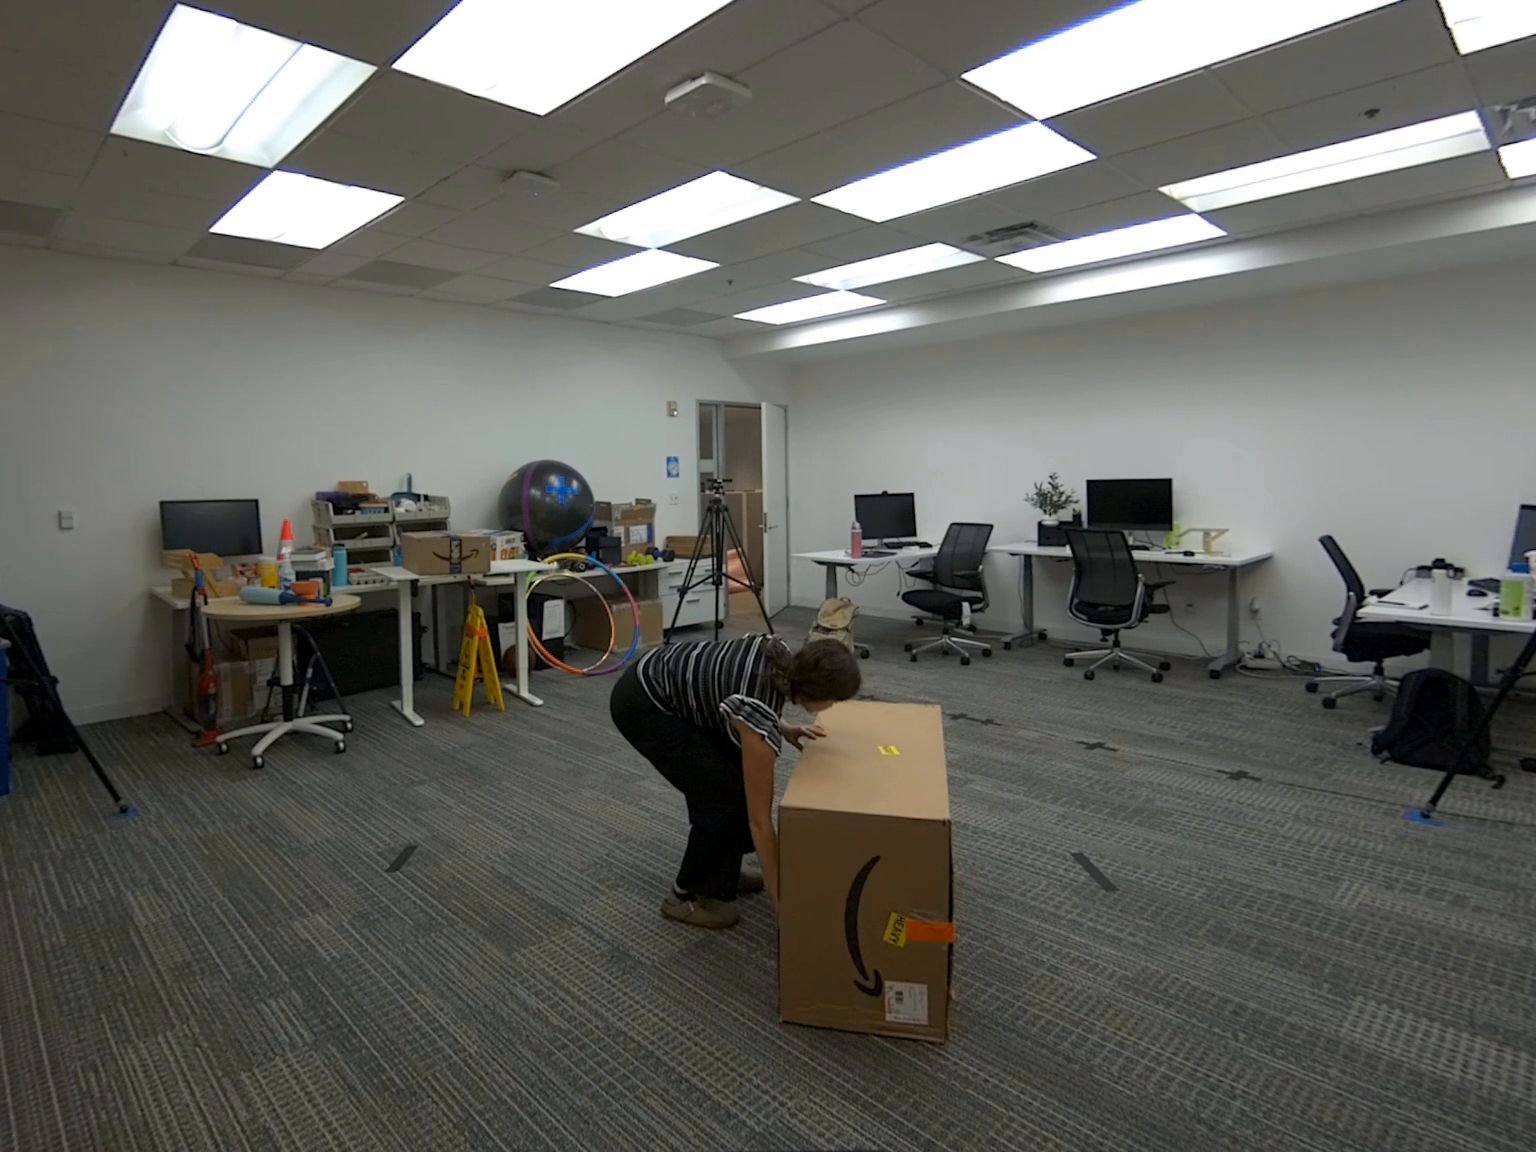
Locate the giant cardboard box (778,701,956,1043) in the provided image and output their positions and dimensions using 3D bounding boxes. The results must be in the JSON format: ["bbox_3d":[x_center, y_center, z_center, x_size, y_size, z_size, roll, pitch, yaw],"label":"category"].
[{"bbox_3d":[0.334,0.797,2.620,0.431,0.575,1.019,0,6,10],"label":"giant cardboard box"}]
